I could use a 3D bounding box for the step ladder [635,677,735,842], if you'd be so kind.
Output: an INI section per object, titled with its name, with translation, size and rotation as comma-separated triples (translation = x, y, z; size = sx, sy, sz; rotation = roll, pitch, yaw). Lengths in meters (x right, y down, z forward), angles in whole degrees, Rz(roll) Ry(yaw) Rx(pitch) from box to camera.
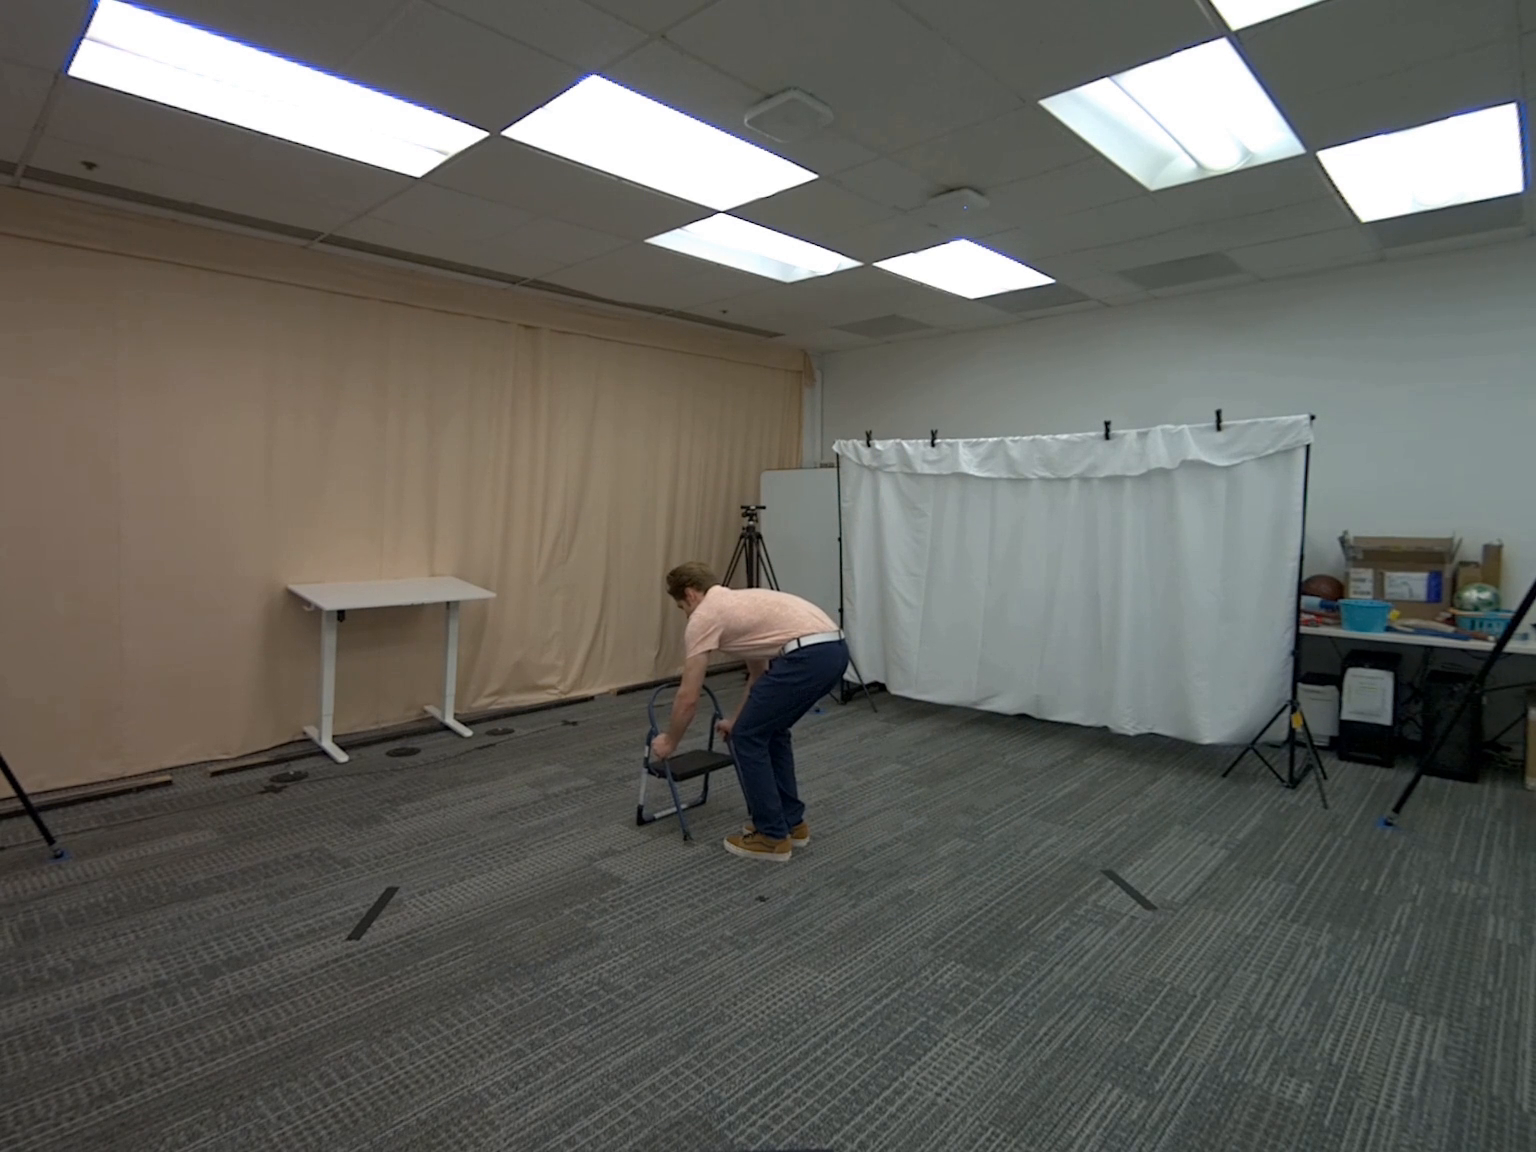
[step ladder]
translation = -0.332, 0.778, 3.711
size = 0.360, 0.606, 0.417
rotation = -3, 1, 43
